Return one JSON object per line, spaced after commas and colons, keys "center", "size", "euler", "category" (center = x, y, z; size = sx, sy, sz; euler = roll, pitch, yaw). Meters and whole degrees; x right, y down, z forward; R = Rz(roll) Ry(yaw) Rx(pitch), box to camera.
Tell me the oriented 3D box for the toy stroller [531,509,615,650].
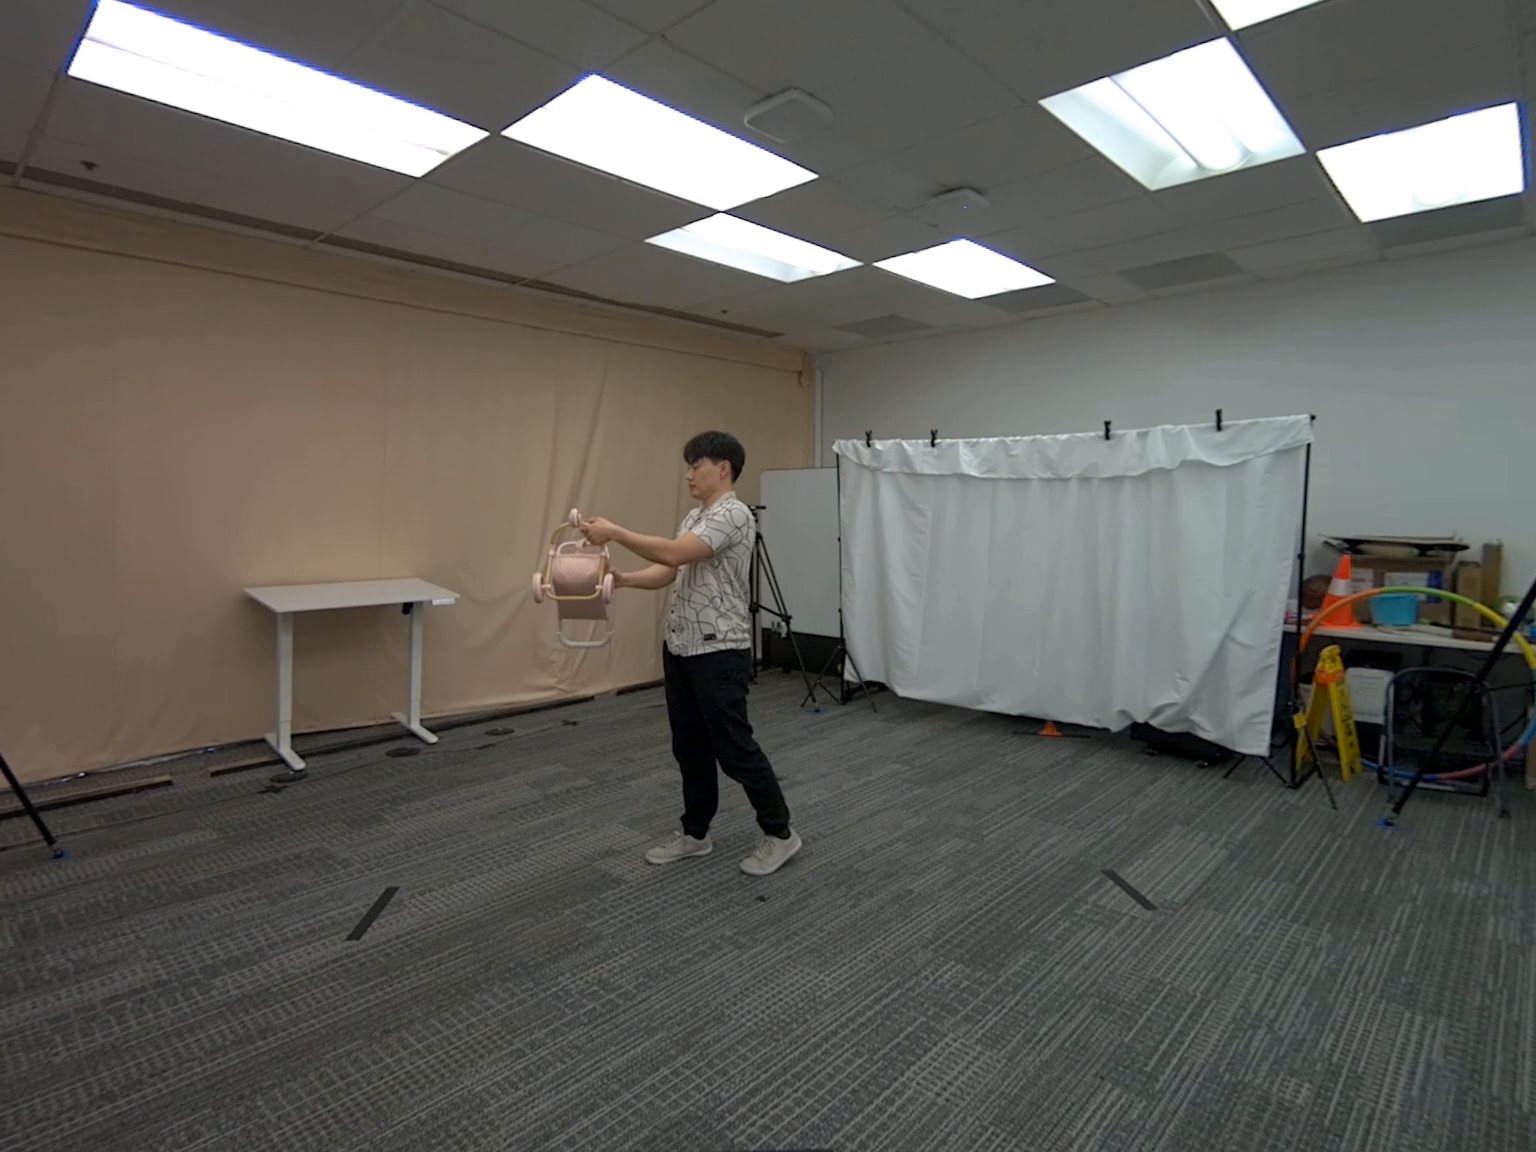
{"center": [-0.705, 0.022, 3.165], "size": [0.280, 0.348, 0.527], "euler": [-3, -29, -6], "category": "toy stroller"}
